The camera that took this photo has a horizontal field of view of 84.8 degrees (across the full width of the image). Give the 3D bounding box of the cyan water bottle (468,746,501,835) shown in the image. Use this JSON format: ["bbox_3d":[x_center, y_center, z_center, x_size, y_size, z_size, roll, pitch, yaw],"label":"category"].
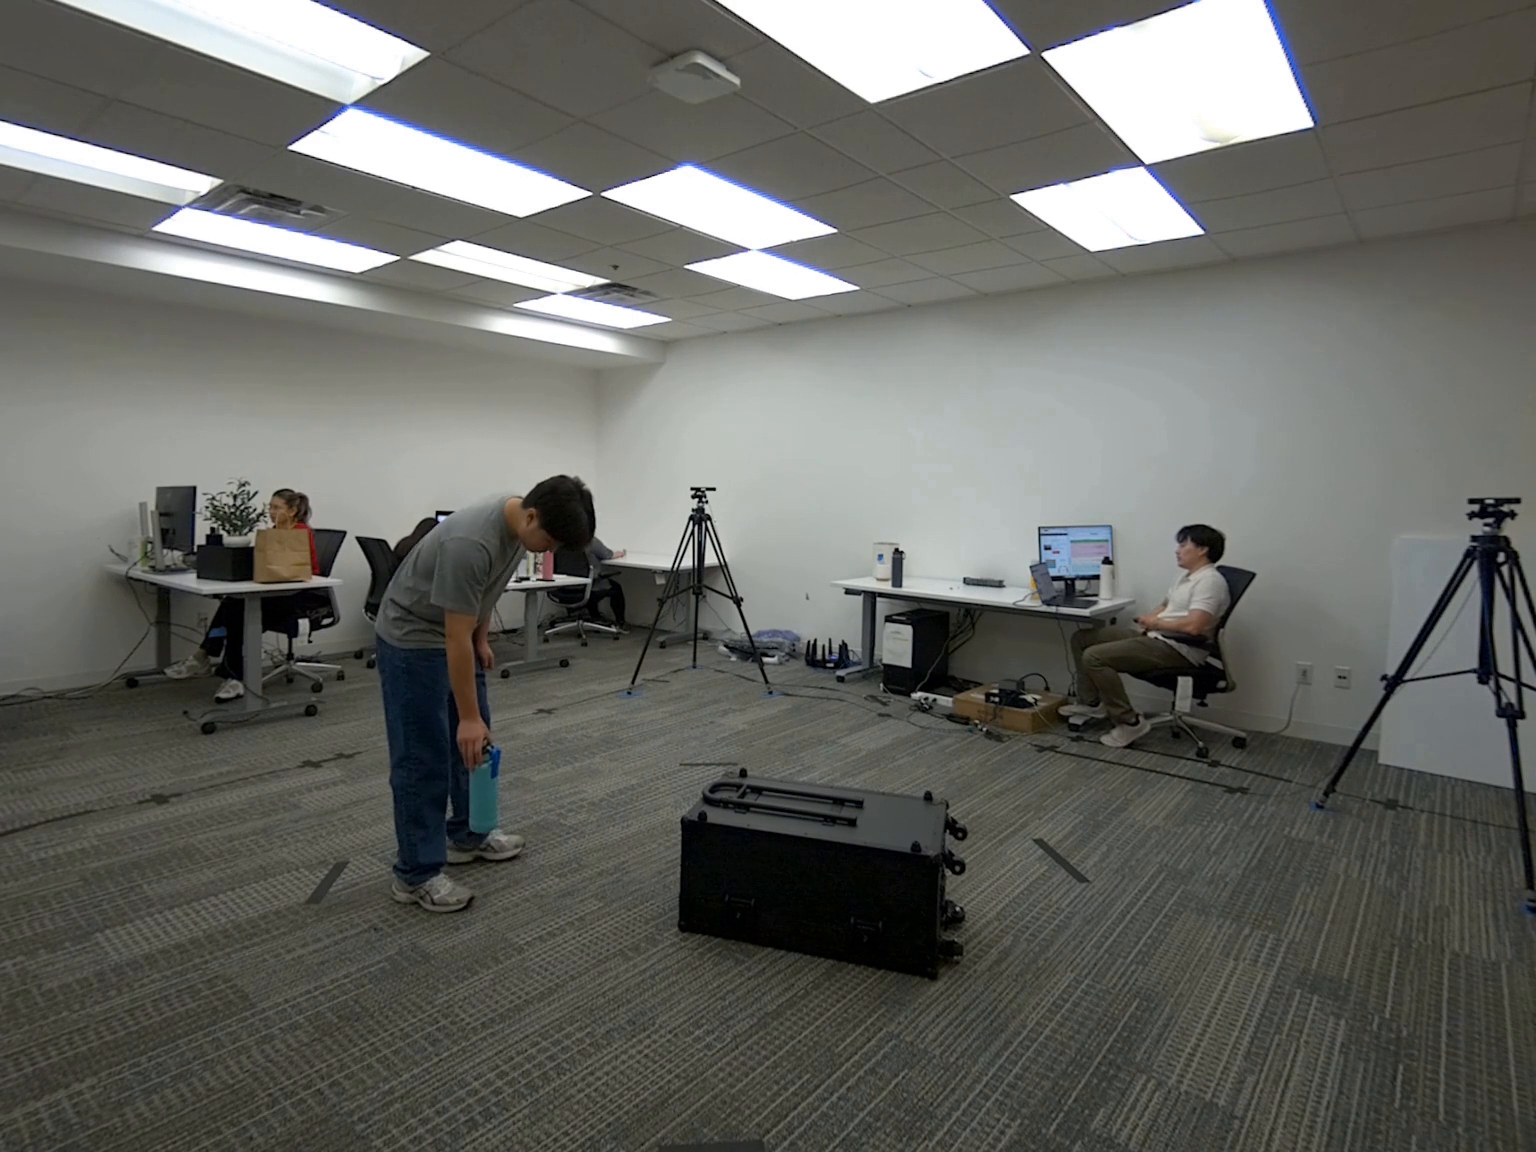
[{"bbox_3d":[-0.899,0.659,2.667,0.092,0.282,0.093,5,6,-2],"label":"cyan water bottle"}]
